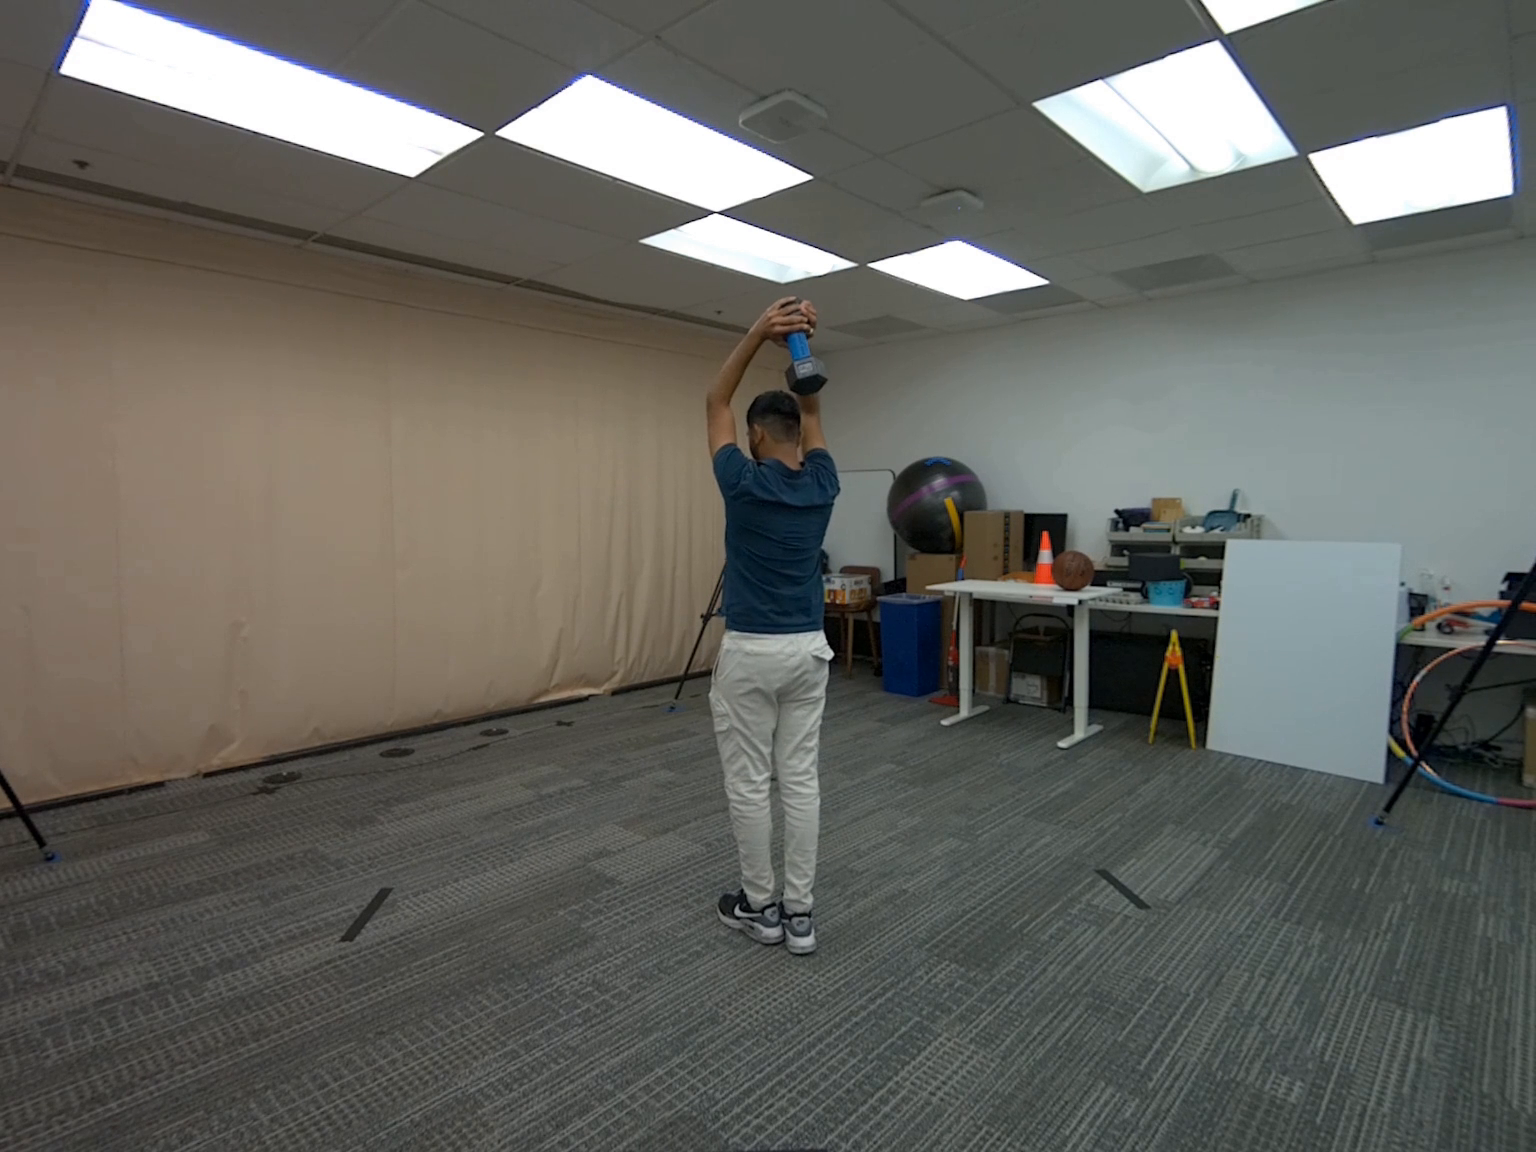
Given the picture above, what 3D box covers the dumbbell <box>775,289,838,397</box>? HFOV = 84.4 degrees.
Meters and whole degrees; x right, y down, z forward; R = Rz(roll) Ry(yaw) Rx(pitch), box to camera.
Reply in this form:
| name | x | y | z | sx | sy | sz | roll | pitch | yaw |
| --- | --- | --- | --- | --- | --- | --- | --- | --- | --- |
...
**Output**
| name | x | y | z | sx | sy | sz | roll | pitch | yaw |
| --- | --- | --- | --- | --- | --- | --- | --- | --- | --- |
| dumbbell | 0.103 | -0.703 | 2.570 | 0.106 | 0.297 | 0.124 | 0 | -20 | -27 |
